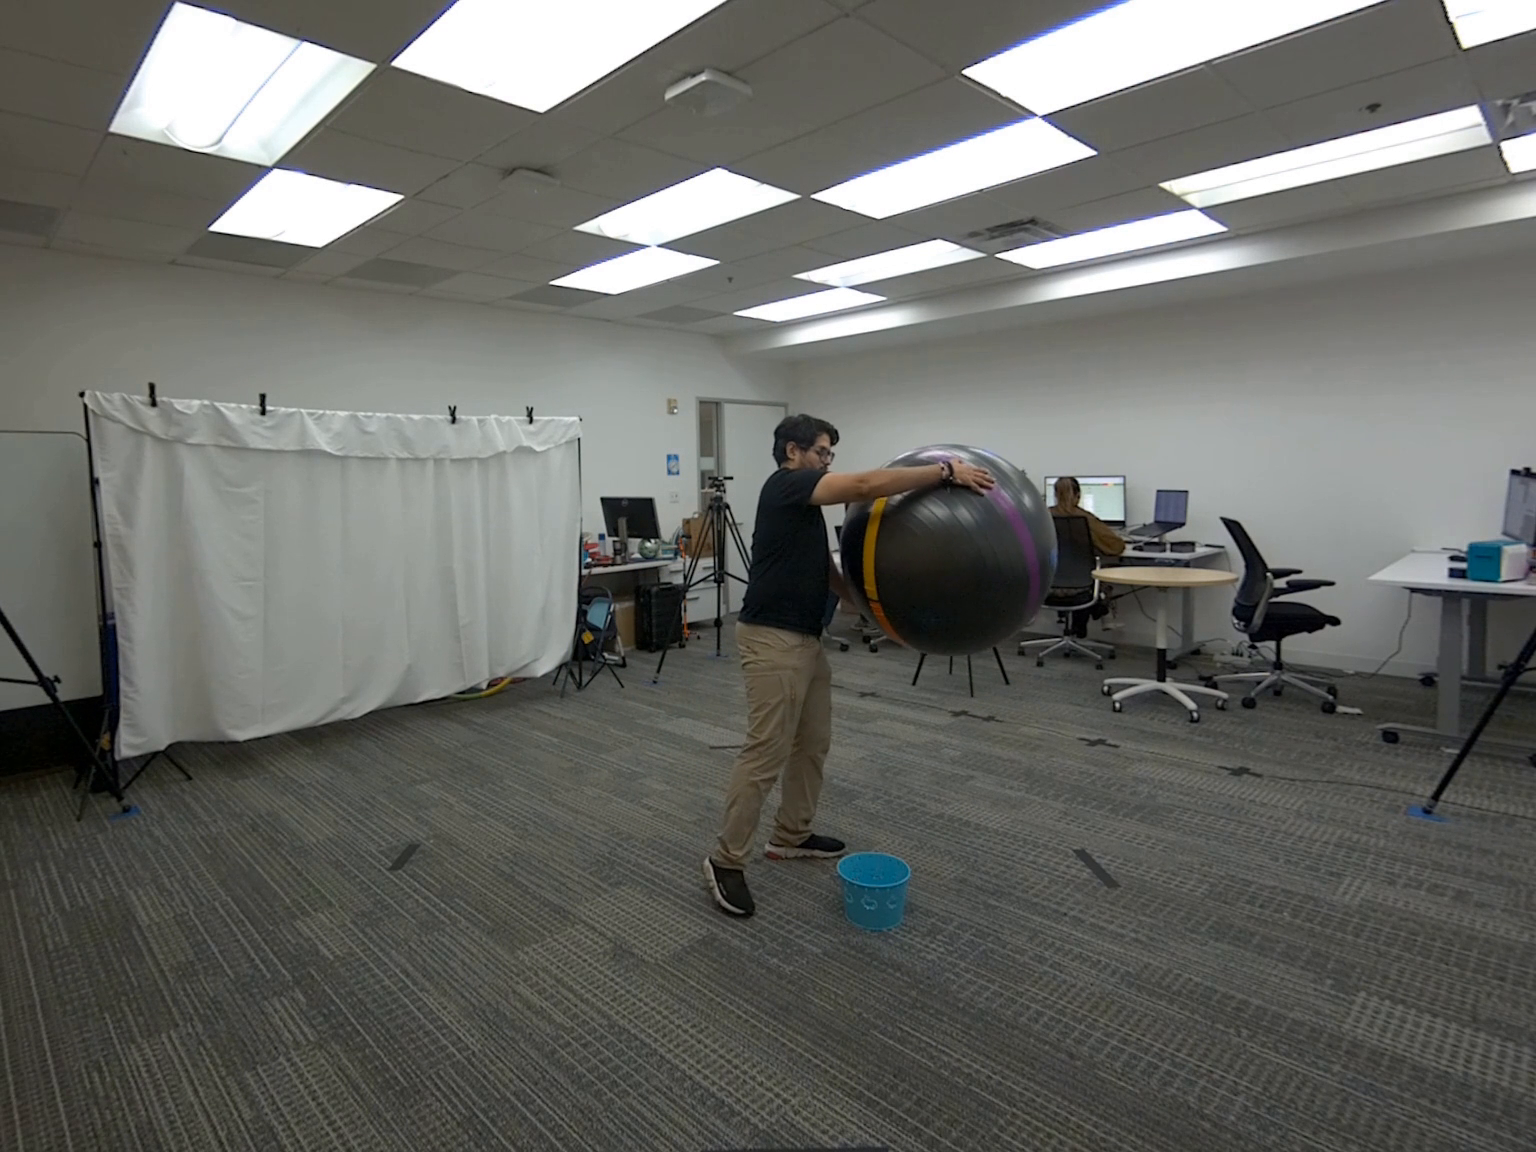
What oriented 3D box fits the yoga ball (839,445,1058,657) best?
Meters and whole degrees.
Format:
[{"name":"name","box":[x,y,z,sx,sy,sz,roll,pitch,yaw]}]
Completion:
[{"name":"yoga ball","box":[0.645,-0.087,3.089,0.757,0.755,0.762,-1,5,-2]}]
